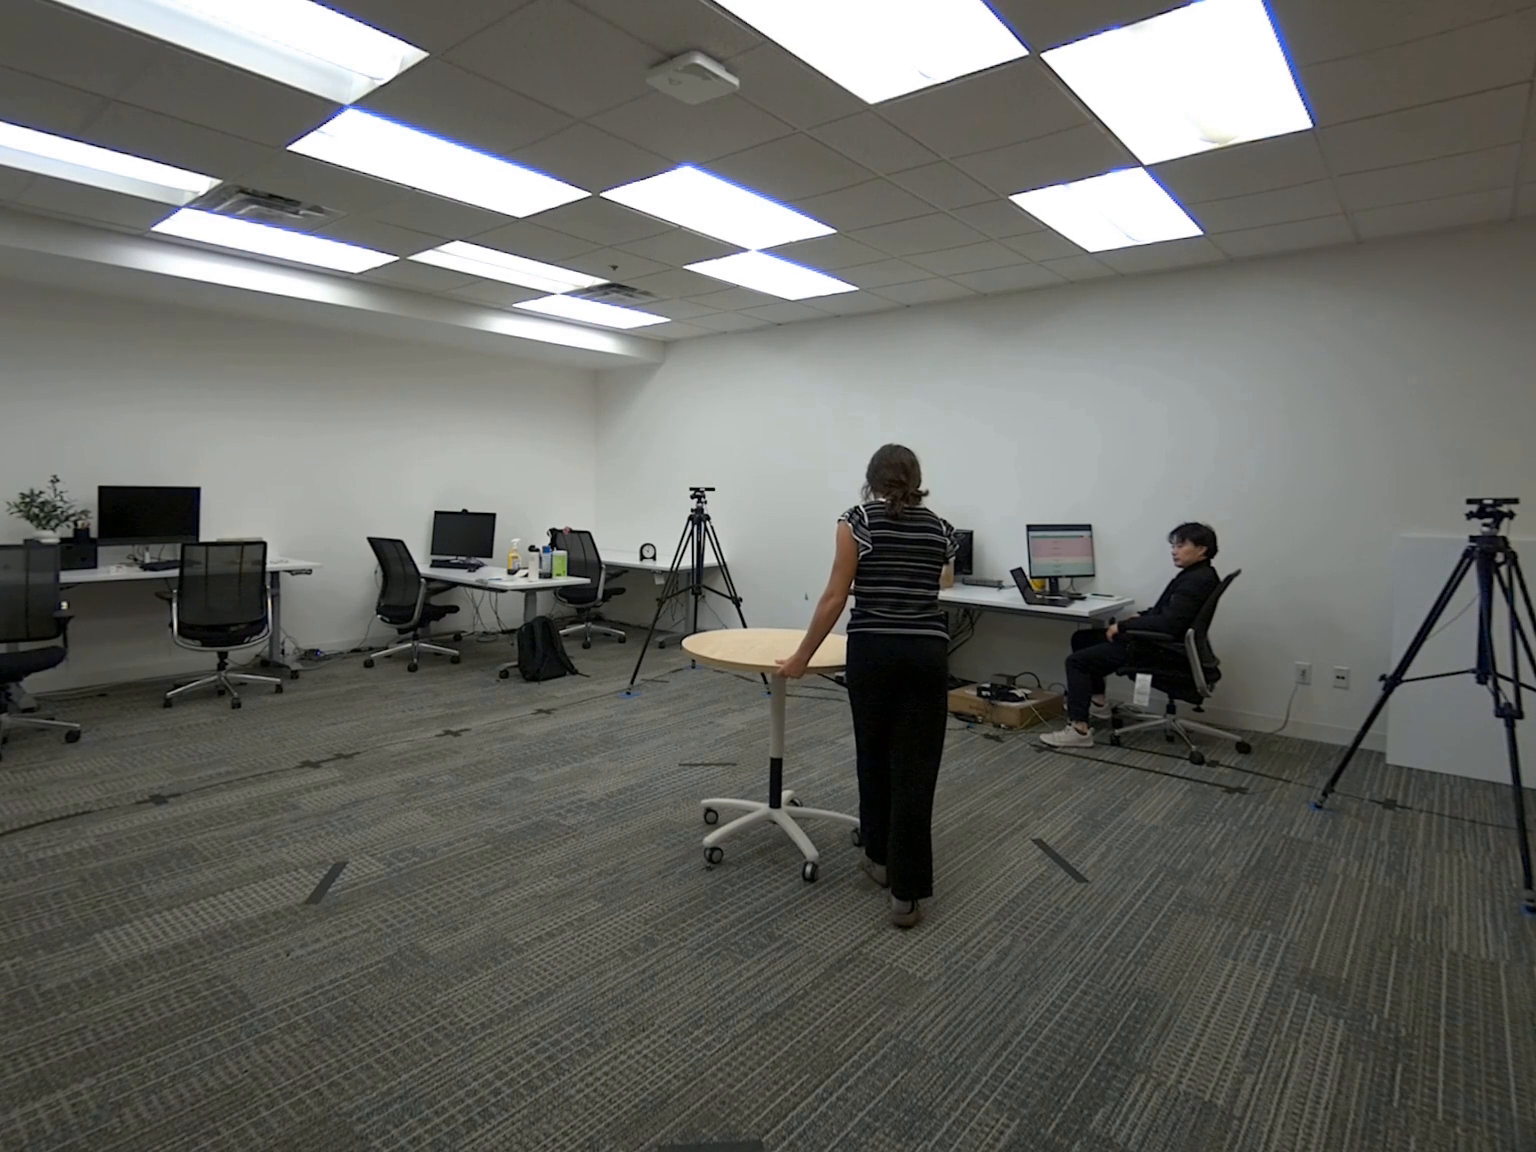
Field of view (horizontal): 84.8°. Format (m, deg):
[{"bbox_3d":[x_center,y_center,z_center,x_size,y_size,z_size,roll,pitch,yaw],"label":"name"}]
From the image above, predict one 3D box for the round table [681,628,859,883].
[{"bbox_3d":[0.020,0.659,3.343,0.763,0.791,0.768,2,4,-2],"label":"round table"}]
